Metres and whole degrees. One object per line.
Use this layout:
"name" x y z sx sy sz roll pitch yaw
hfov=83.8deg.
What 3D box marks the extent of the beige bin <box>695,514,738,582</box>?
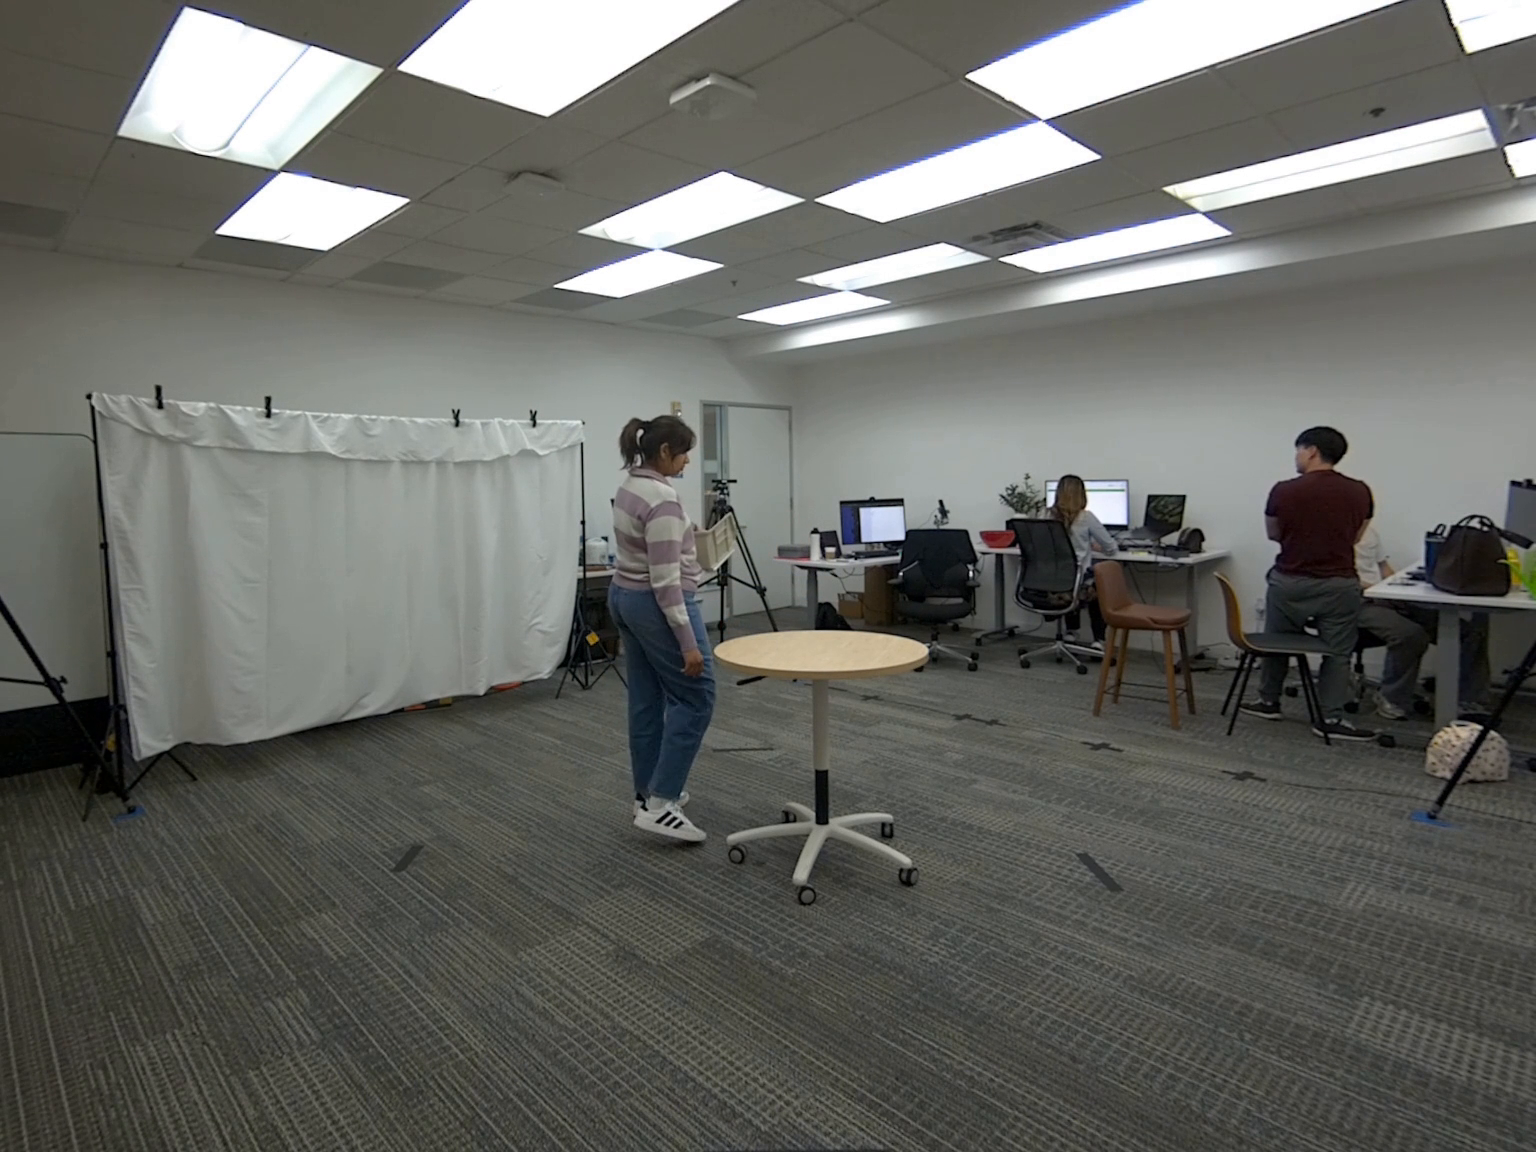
"beige bin" -0.383 -0.141 3.818 0.429 0.186 0.377 -5 17 19
